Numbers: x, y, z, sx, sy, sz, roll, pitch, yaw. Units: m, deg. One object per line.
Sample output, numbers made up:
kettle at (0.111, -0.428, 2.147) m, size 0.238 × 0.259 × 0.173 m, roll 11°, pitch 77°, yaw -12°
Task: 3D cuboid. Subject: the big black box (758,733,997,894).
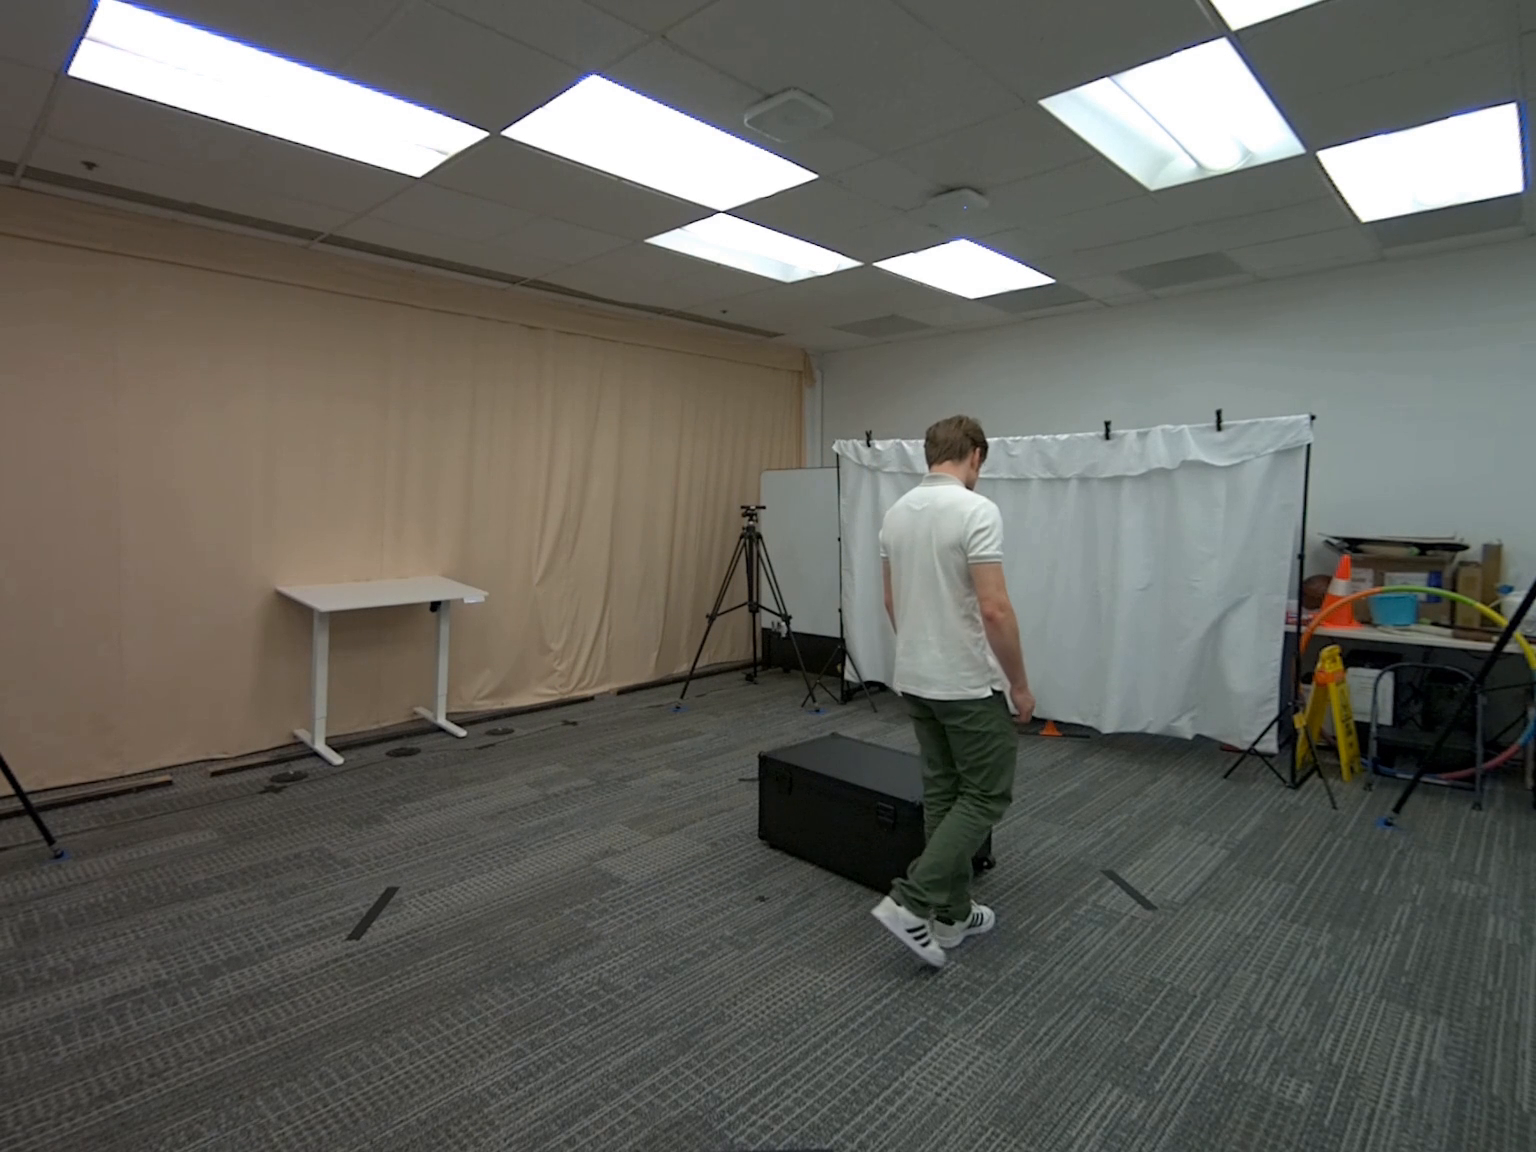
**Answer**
big black box at (0.429, 0.926, 3.295) m, size 0.505 × 0.395 × 0.890 m, roll -4°, pitch 6°, yaw -44°
